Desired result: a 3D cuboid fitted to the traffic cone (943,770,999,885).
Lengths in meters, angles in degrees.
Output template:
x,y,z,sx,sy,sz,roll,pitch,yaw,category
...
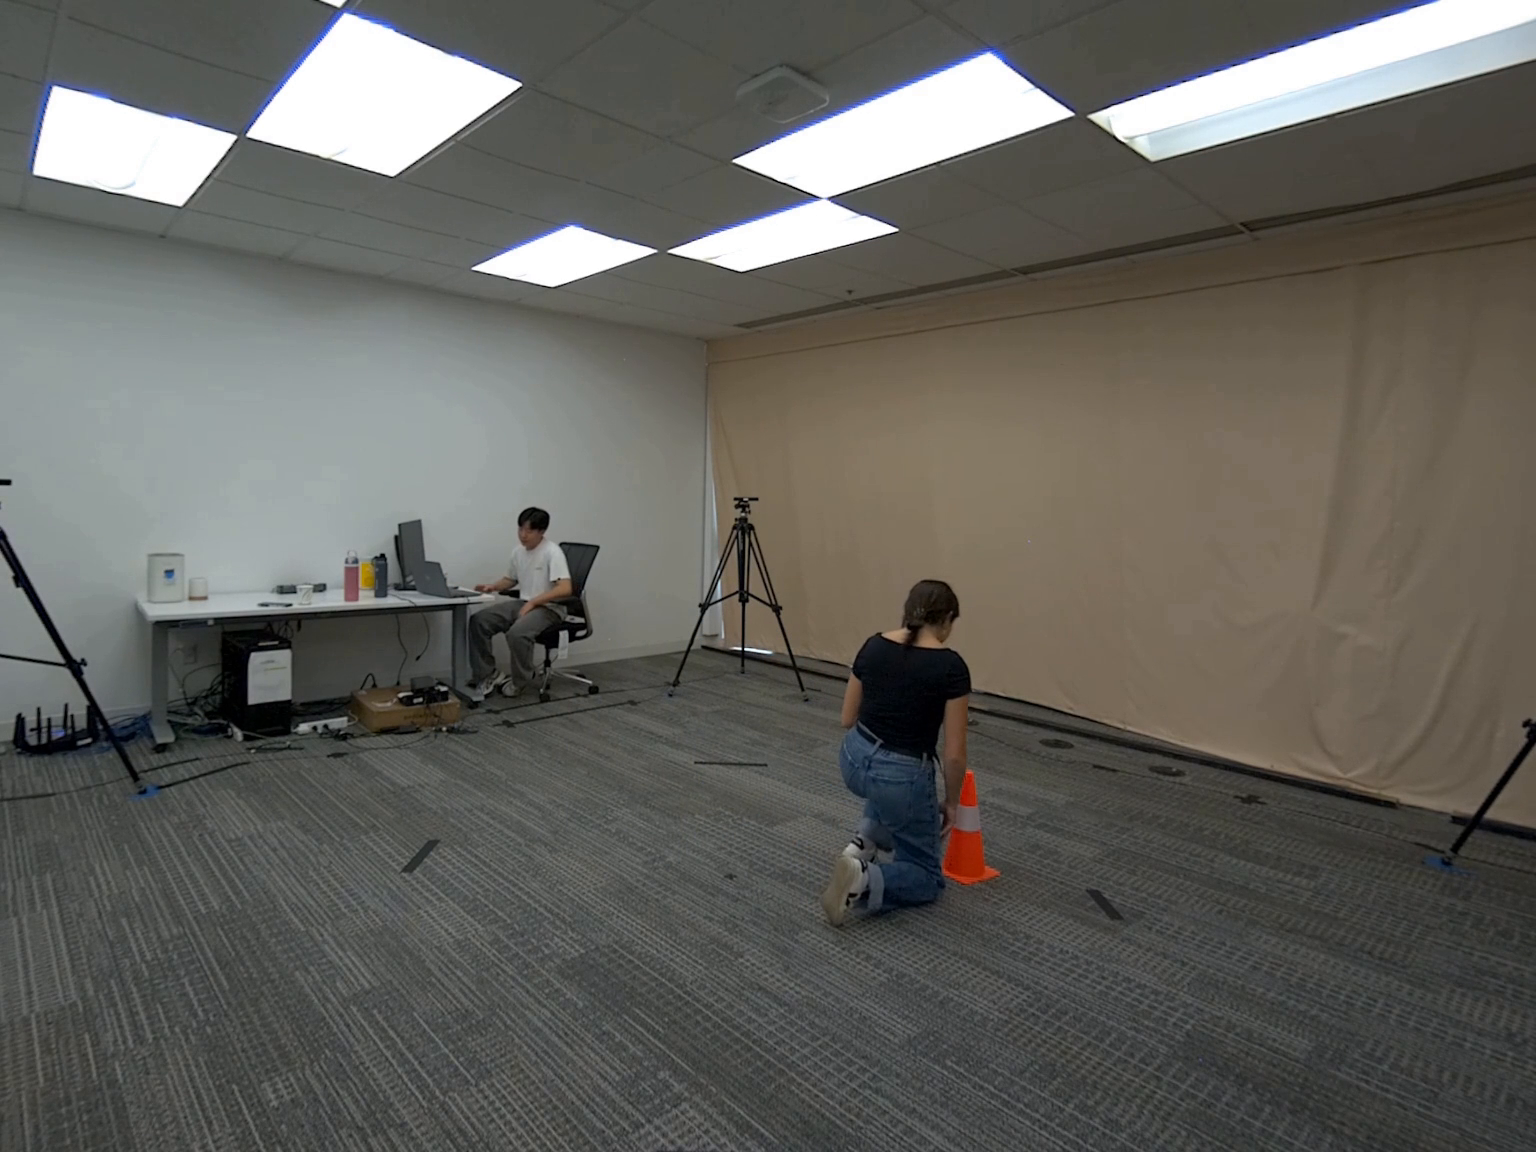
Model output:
x,y,z,sx,sy,sz,roll,pitch,yaw,category
0.748,0.938,3.204,0.200,0.382,0.209,0,5,-24,traffic cone
